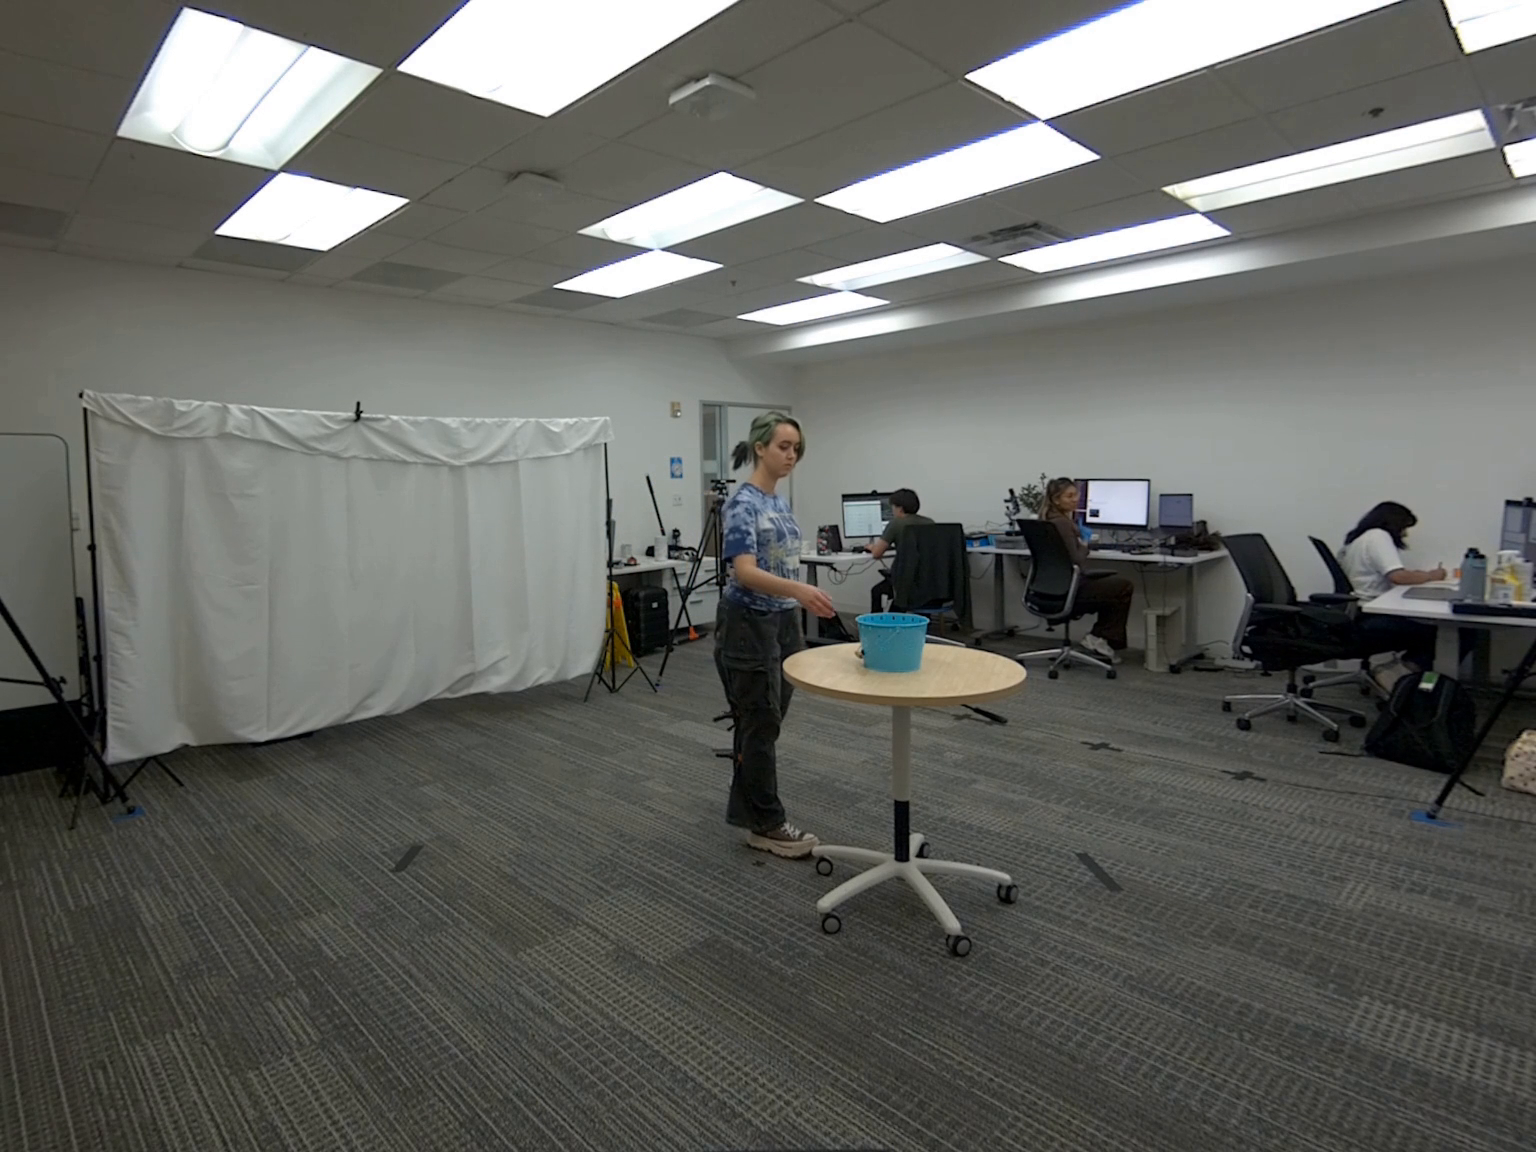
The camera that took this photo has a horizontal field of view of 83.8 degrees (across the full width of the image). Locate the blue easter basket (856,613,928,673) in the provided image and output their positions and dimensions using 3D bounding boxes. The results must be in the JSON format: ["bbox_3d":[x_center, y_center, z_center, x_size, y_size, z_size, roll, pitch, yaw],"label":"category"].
[{"bbox_3d":[0.407,0.218,2.763,0.243,0.155,0.245,-1,6,-2],"label":"blue easter basket"}]
